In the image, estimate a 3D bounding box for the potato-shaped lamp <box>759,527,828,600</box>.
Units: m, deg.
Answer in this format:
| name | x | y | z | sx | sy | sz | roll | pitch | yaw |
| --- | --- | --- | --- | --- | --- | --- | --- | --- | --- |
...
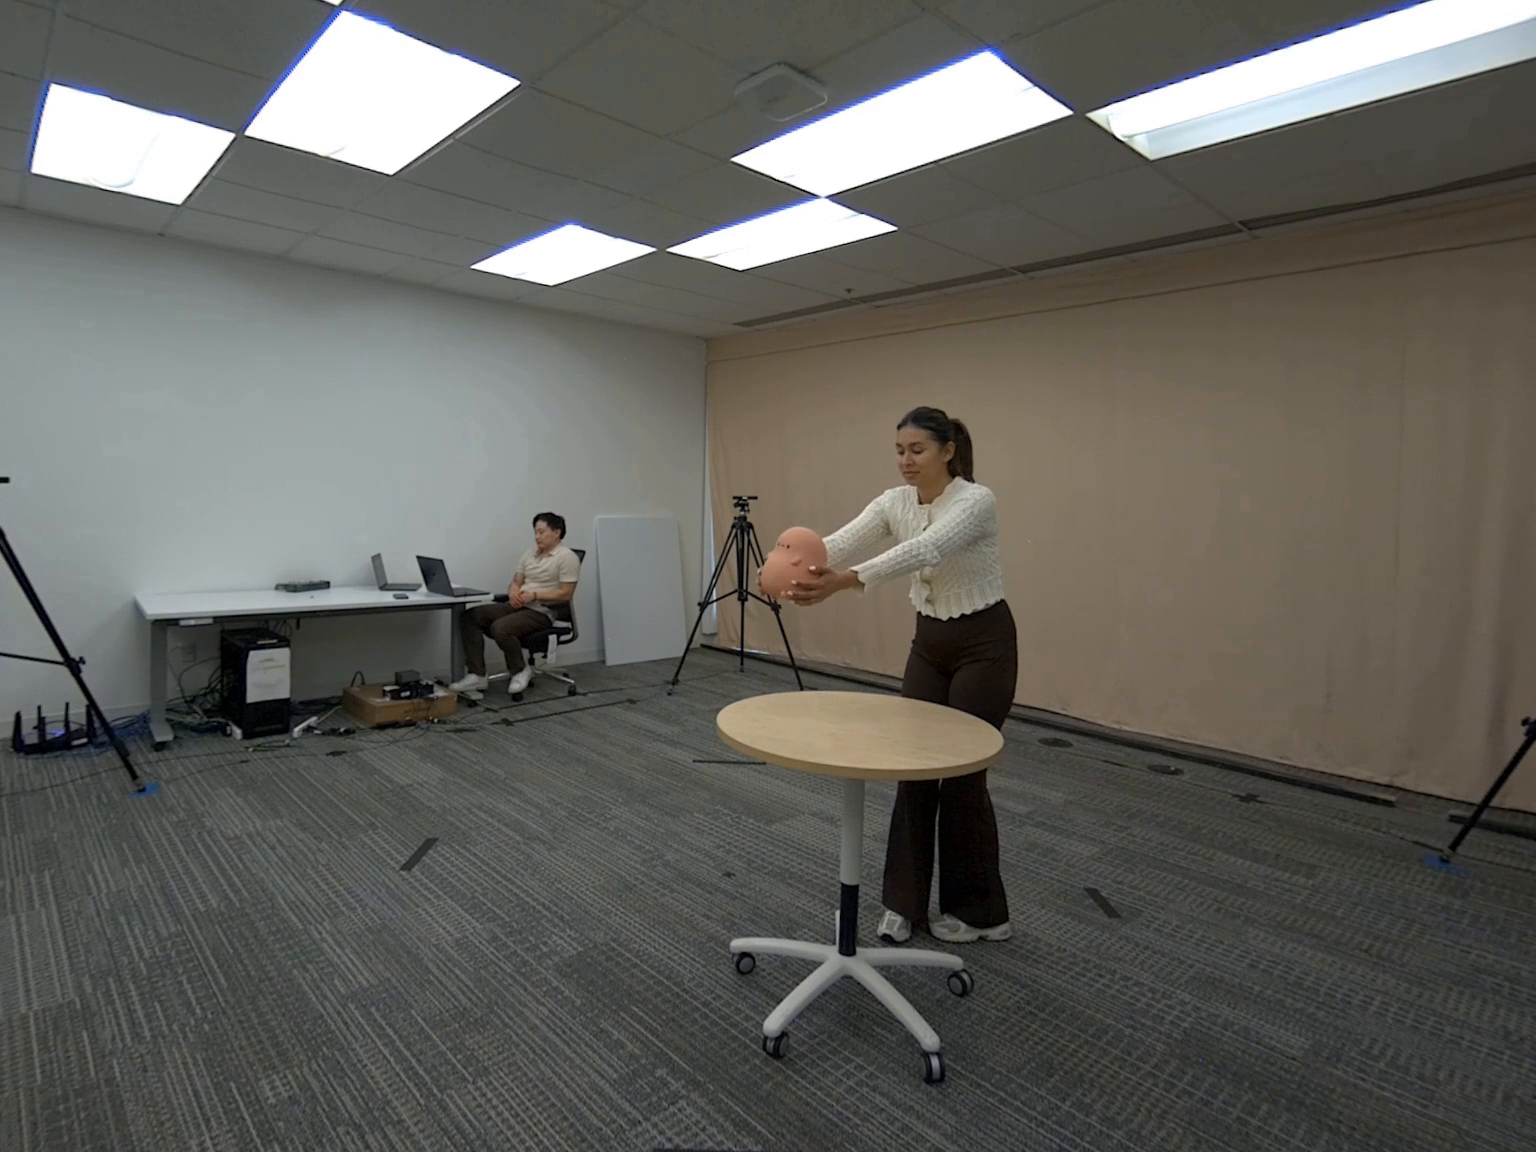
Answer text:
| name | x | y | z | sx | sy | sz | roll | pitch | yaw |
| --- | --- | --- | --- | --- | --- | --- | --- | --- | --- |
| potato-shaped lamp | 0.068 | -0.029 | 2.256 | 0.167 | 0.198 | 0.169 | 8 | 2 | -33 |
